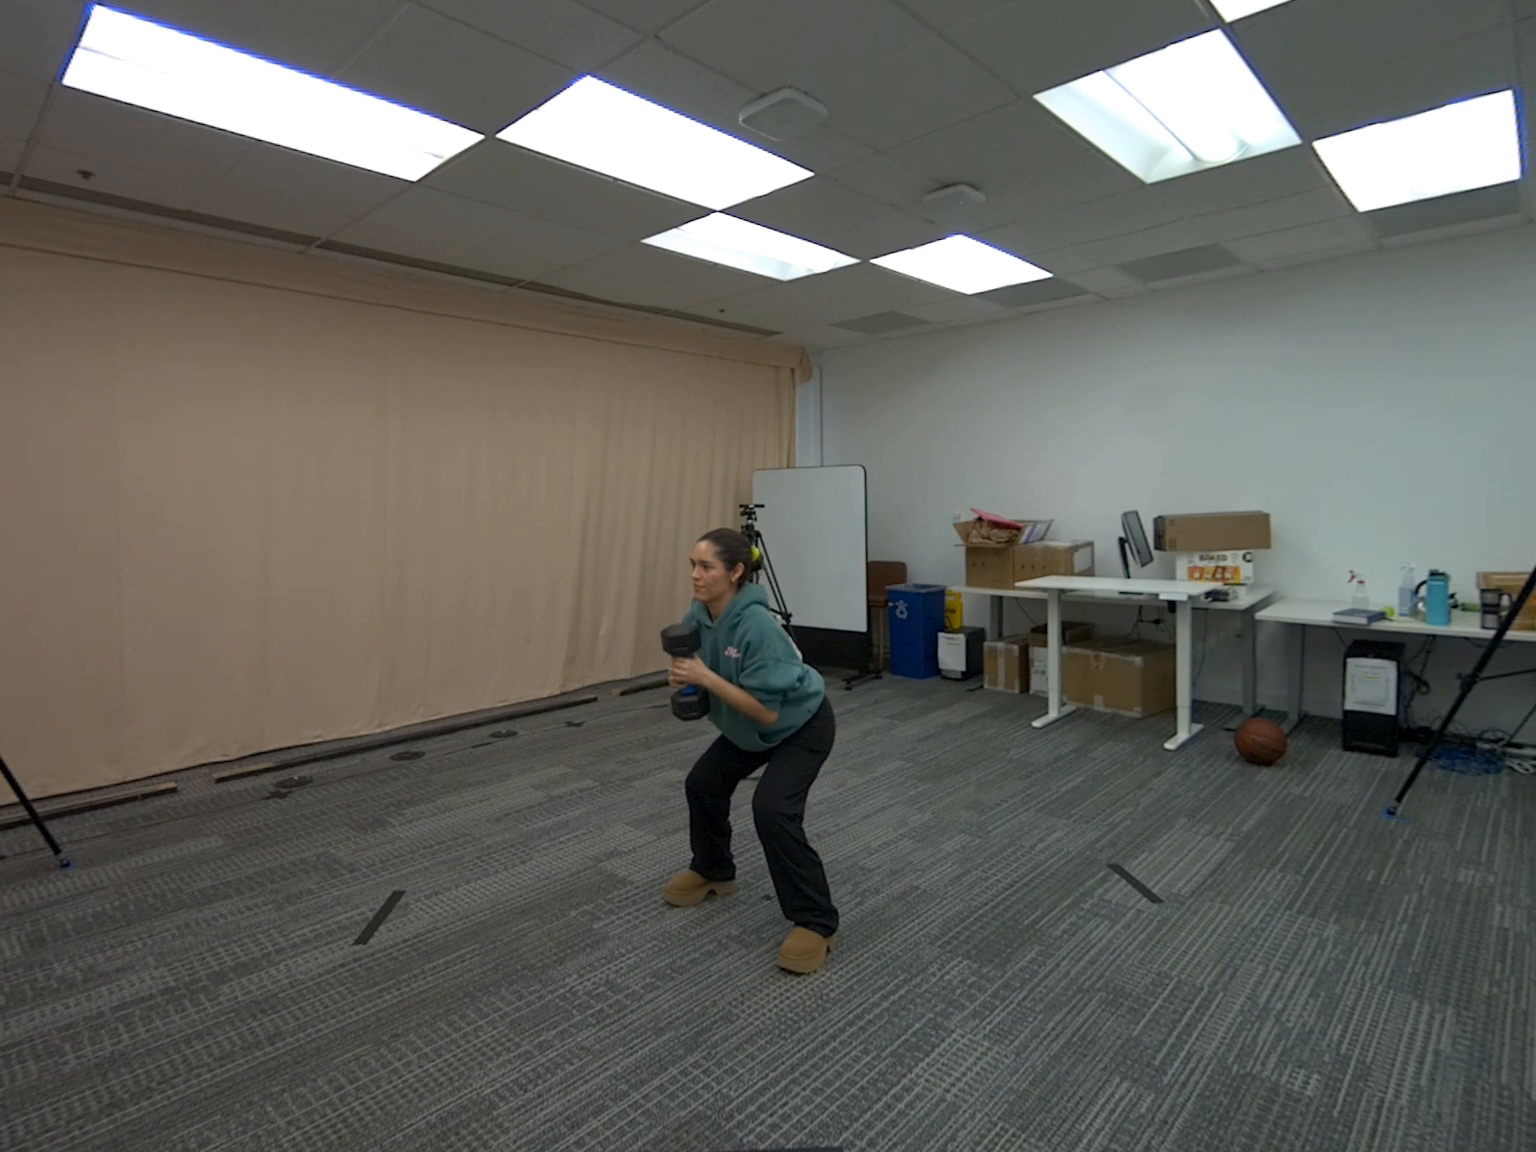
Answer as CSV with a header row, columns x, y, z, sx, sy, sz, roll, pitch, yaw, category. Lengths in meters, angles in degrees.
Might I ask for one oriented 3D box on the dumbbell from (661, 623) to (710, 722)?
x,y,z,sx,sy,sz,roll,pitch,yaw,category
-0.249,0.297,2.645,0.123,0.291,0.109,-7,10,2,dumbbell
